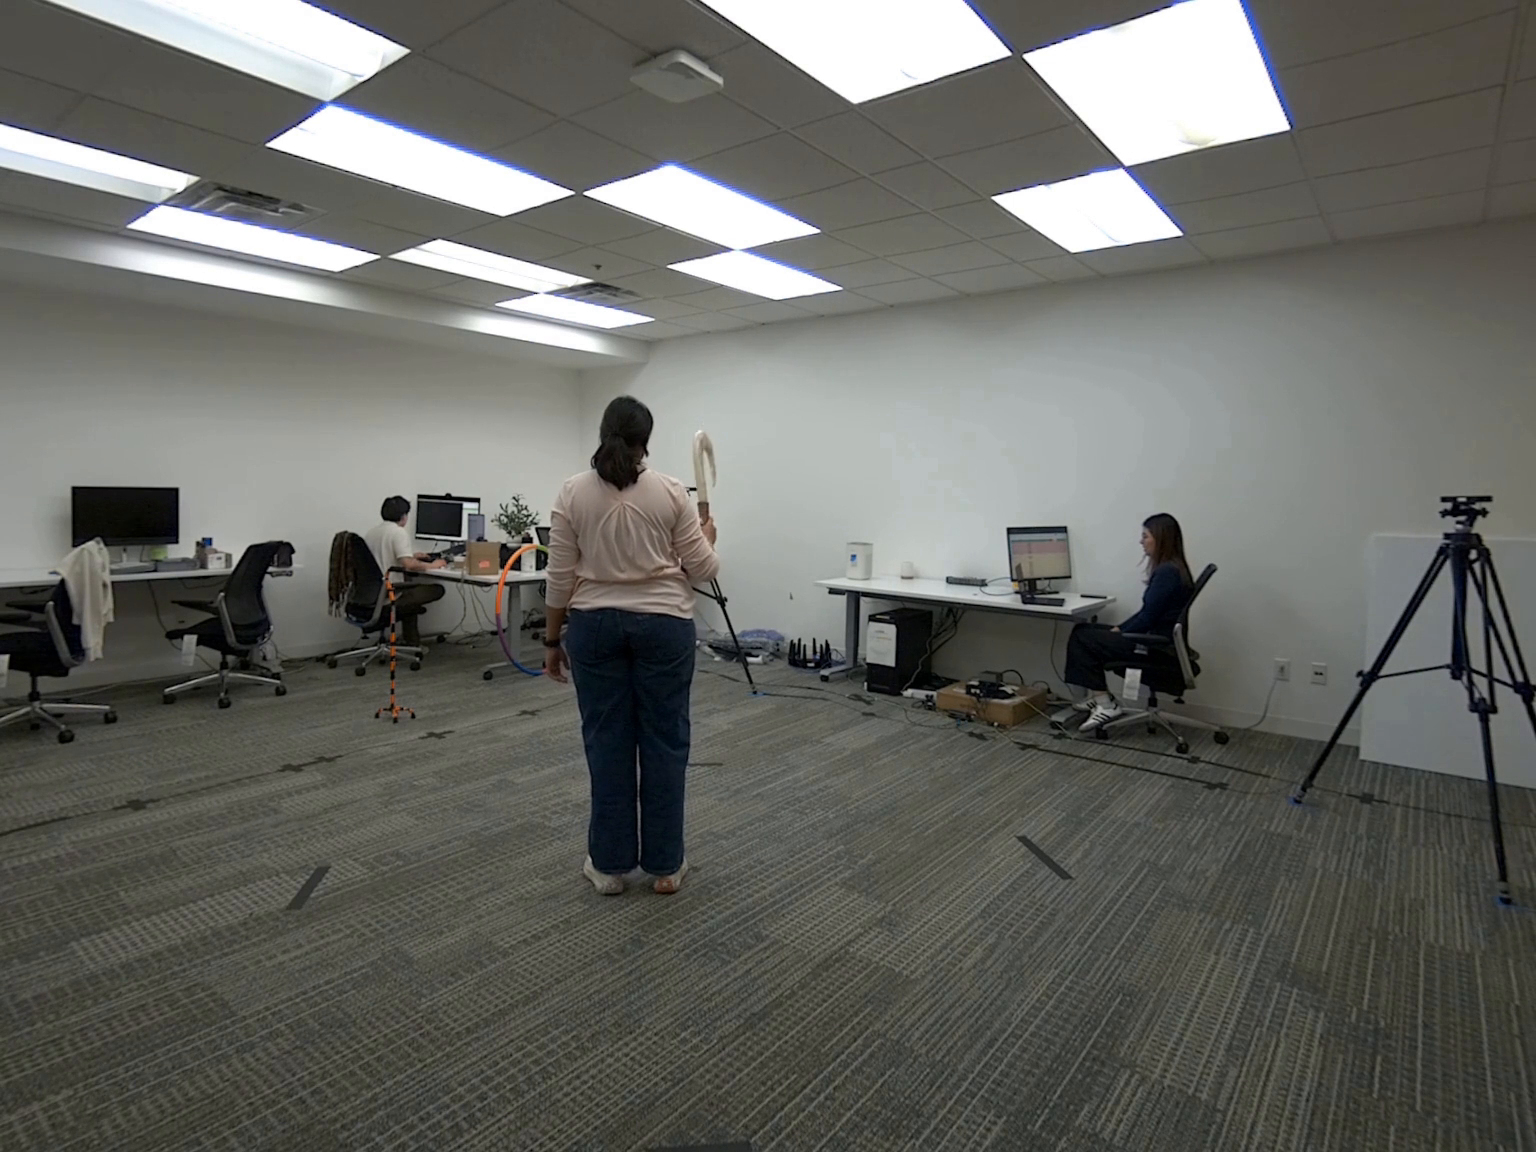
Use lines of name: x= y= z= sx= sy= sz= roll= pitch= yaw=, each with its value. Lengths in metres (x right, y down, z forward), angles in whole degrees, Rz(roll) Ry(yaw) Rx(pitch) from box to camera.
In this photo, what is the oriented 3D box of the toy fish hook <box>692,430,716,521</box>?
toy fish hook: x=-0.250 y=-0.318 z=3.347 sx=0.049 sy=0.515 sz=0.217 roll=-7 pitch=-17 yaw=19
